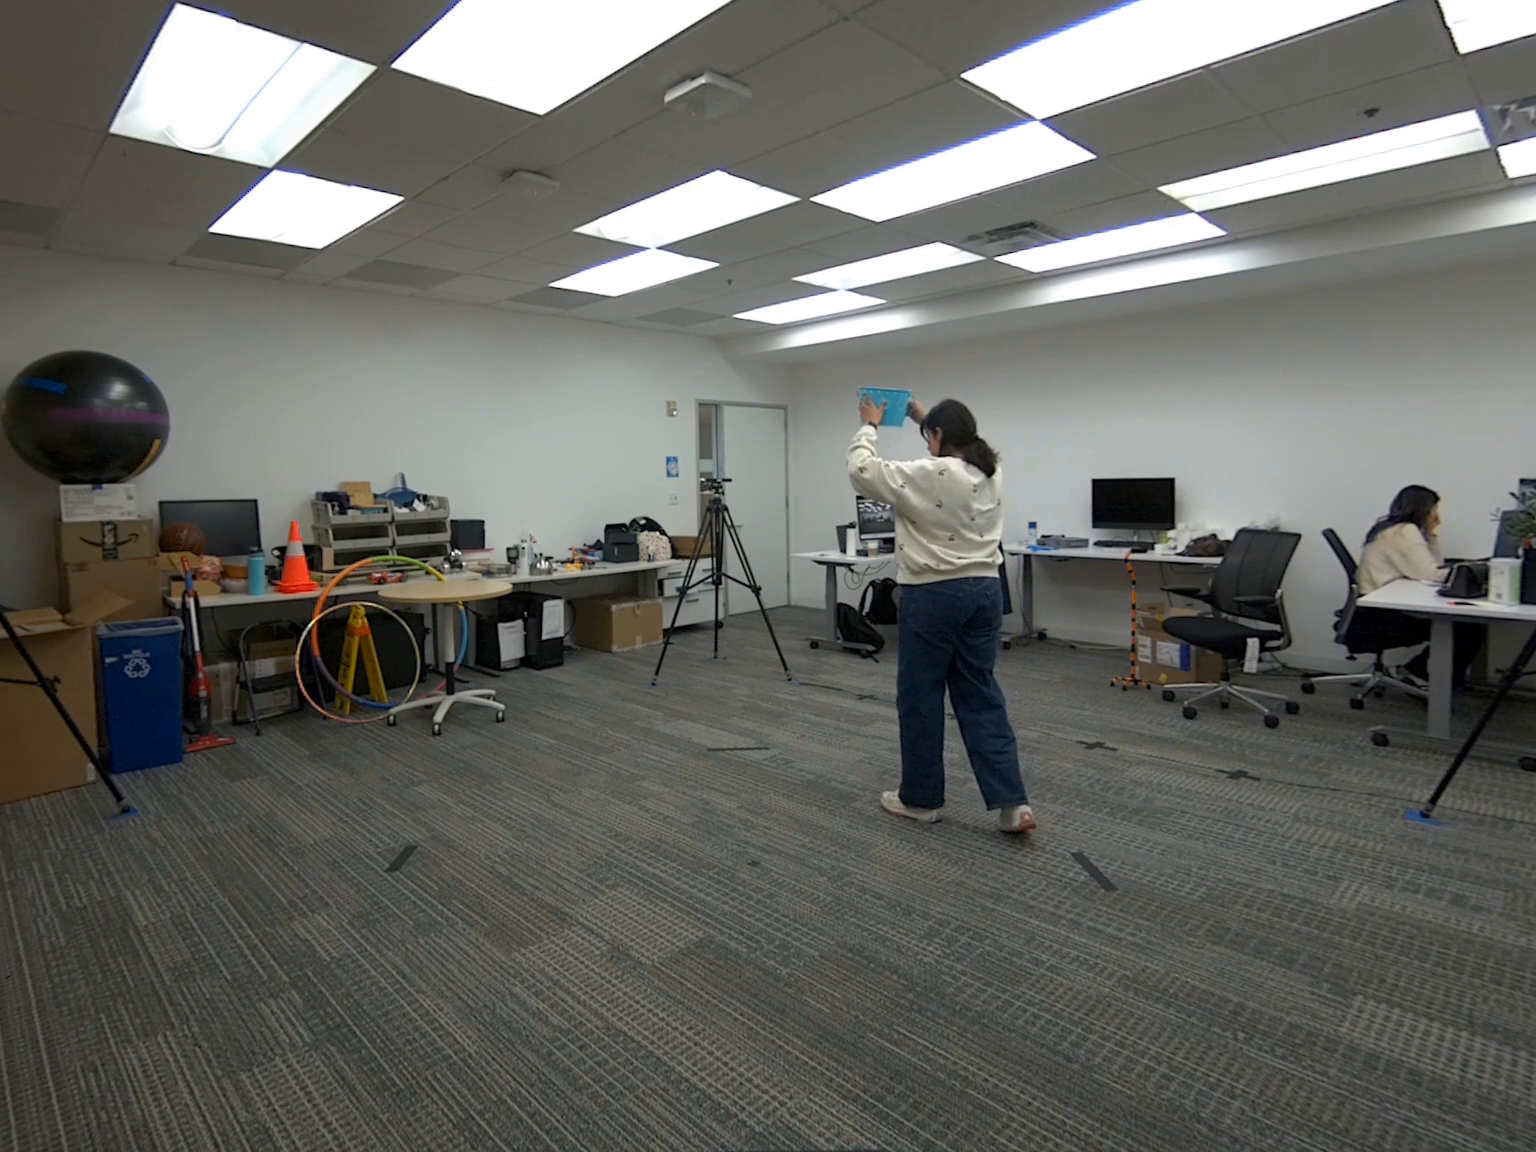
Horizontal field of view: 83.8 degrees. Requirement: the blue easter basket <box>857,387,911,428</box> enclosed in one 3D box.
[{"bbox_3d":[0.501,-0.715,3.616,0.243,0.154,0.246,4,11,-2],"label":"blue easter basket"}]
